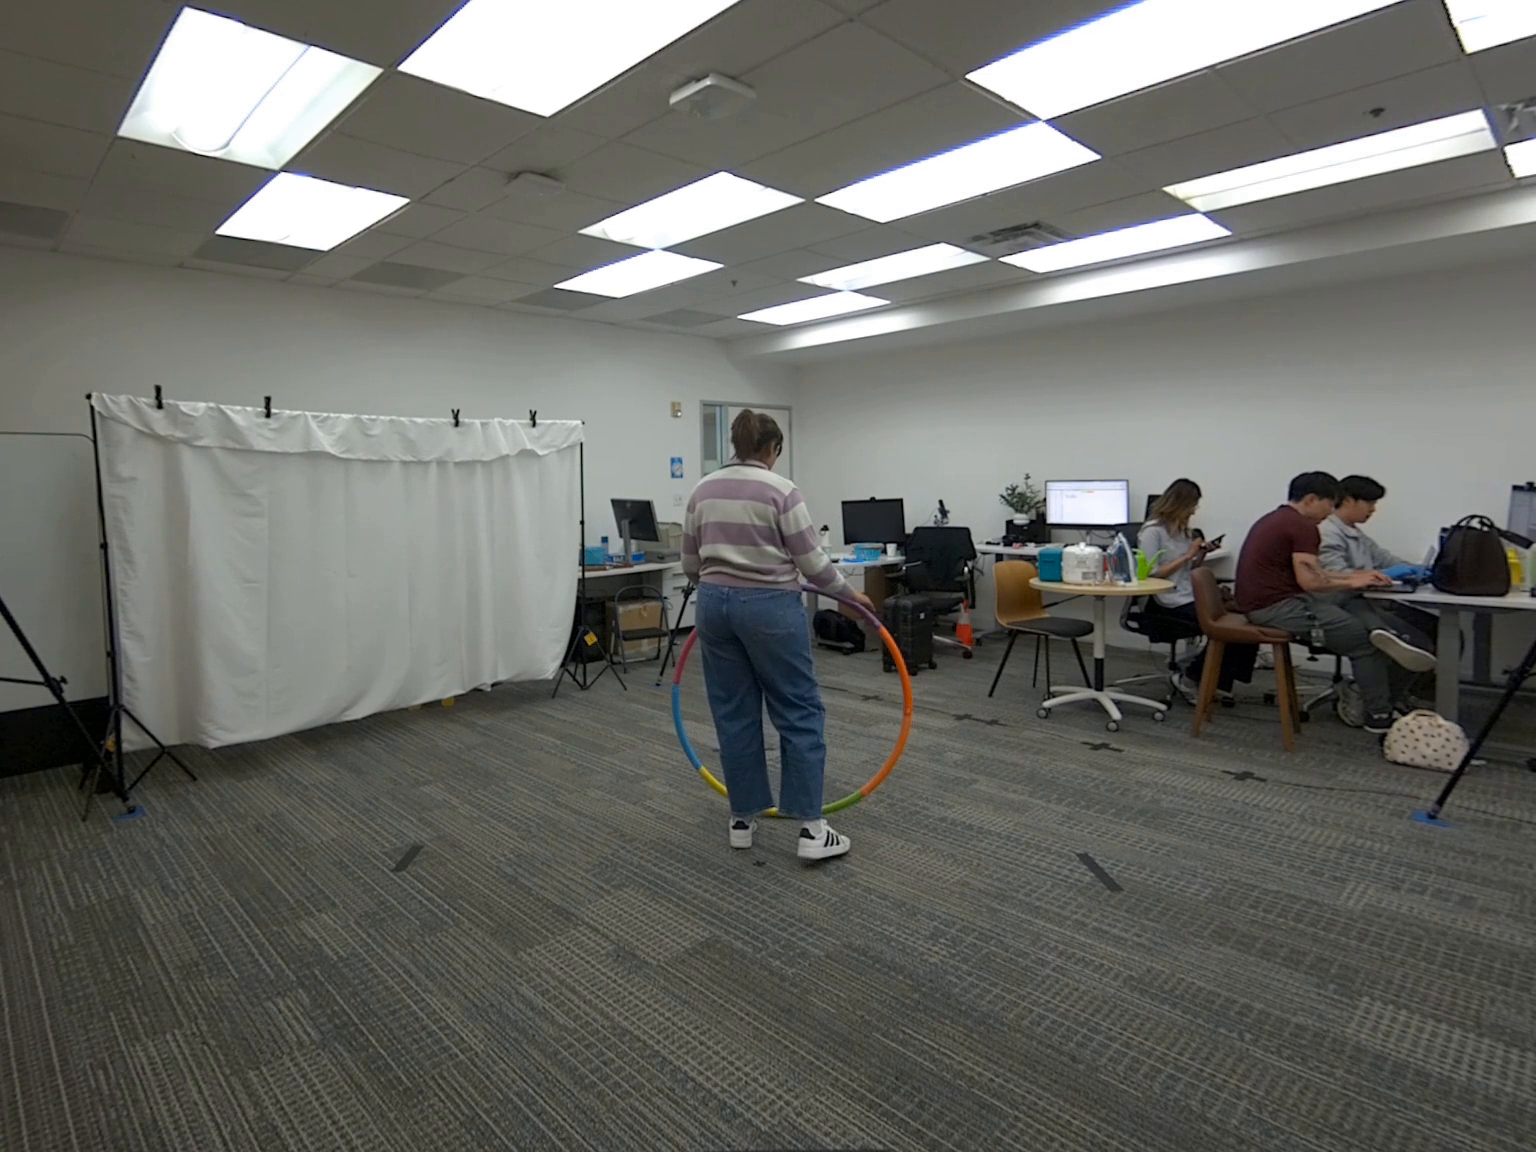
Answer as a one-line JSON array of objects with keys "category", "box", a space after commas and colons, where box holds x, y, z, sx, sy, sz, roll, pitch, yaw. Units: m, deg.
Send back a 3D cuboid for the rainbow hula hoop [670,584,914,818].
[{"category": "rainbow hula hoop", "box": [0.082, 0.515, 3.547, 0.995, 0.988, 0.051, 0, -3, 10]}]
